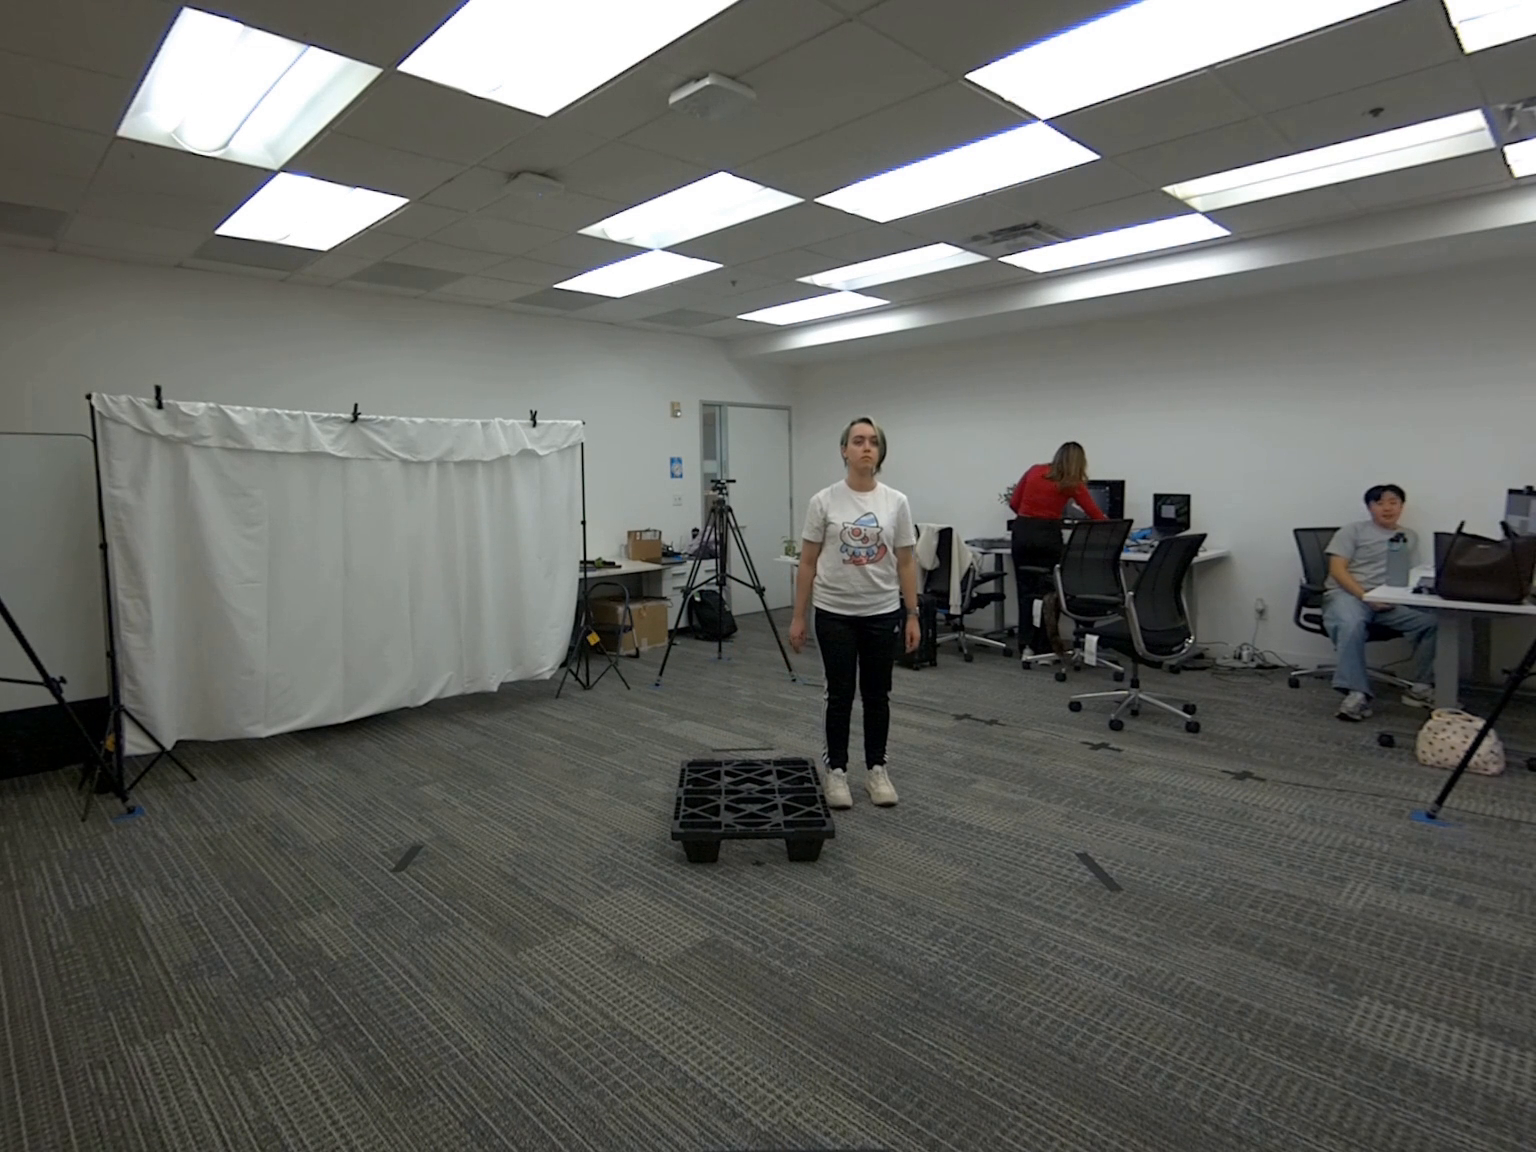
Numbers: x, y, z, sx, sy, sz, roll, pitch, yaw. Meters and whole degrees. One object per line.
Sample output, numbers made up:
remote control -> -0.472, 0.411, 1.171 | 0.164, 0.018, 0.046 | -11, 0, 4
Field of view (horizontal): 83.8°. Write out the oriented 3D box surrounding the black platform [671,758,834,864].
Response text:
black platform -> -0.075, 0.937, 3.478 | 0.605, 0.143, 0.810 | -2, 6, -1
